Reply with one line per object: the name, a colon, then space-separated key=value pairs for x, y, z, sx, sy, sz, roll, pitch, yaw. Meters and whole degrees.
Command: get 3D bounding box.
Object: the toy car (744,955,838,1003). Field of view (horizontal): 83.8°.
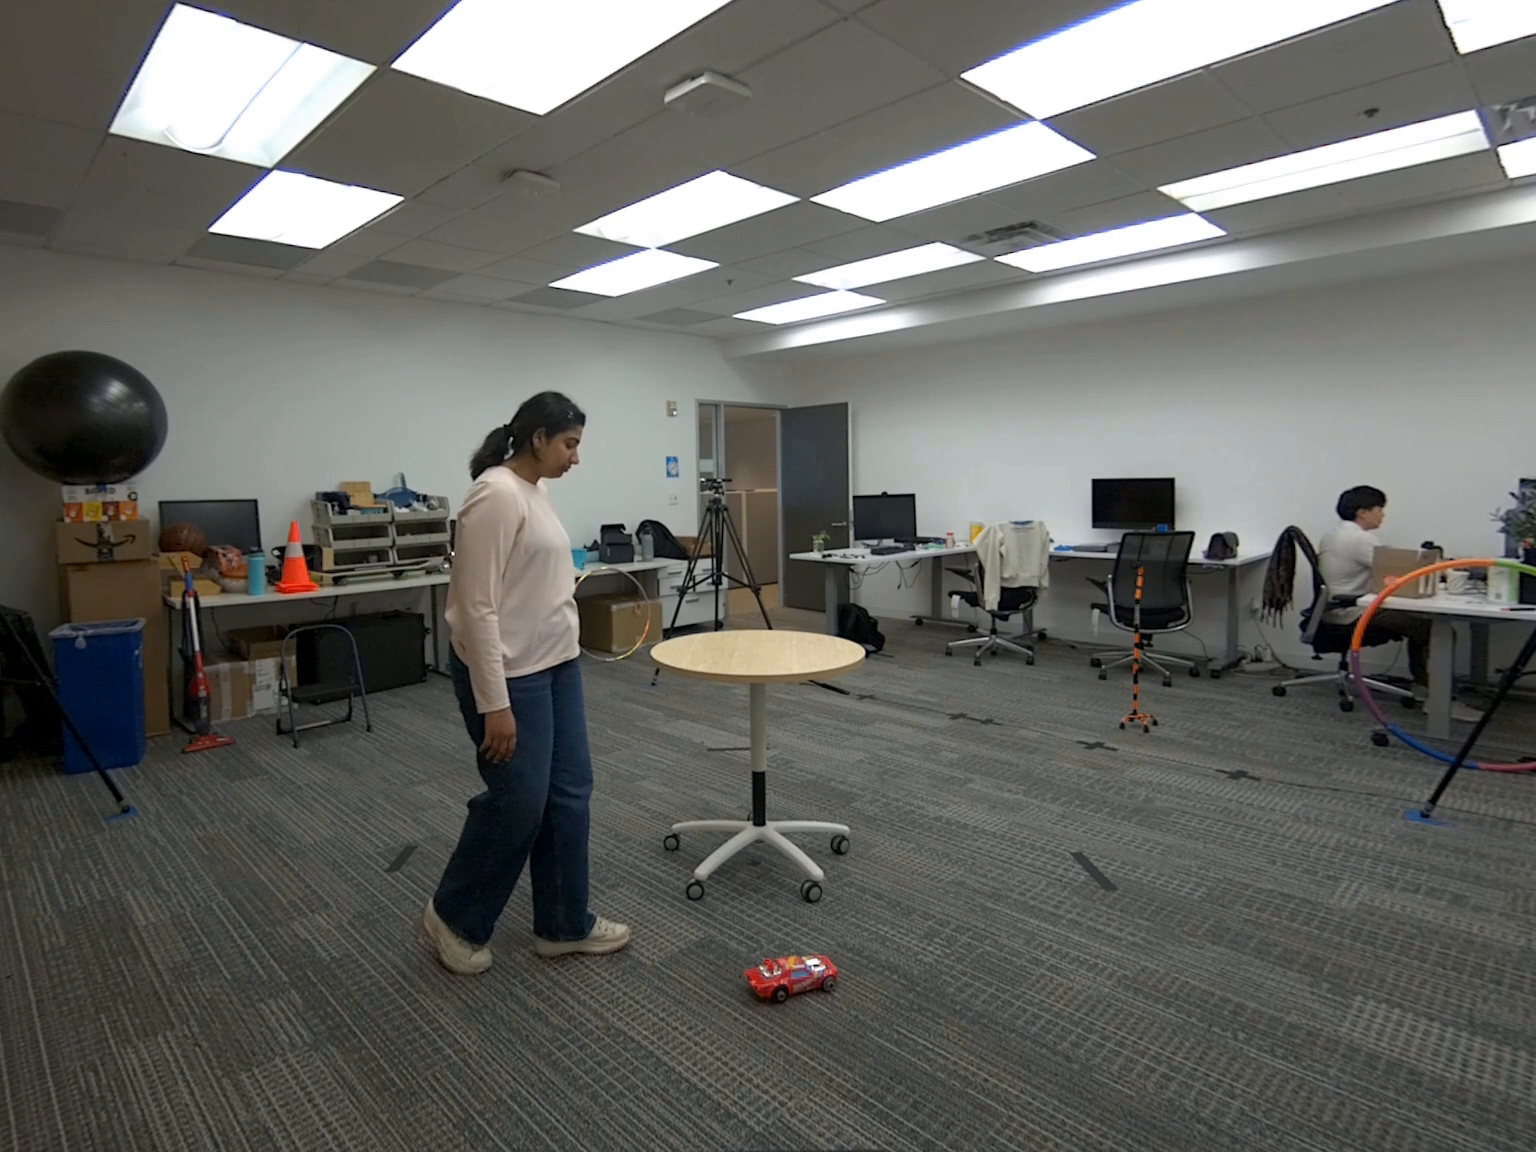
toy car: x=0.062 y=1.097 z=2.338 sx=0.249 sy=0.083 sz=0.133 roll=7 pitch=2 yaw=-20
